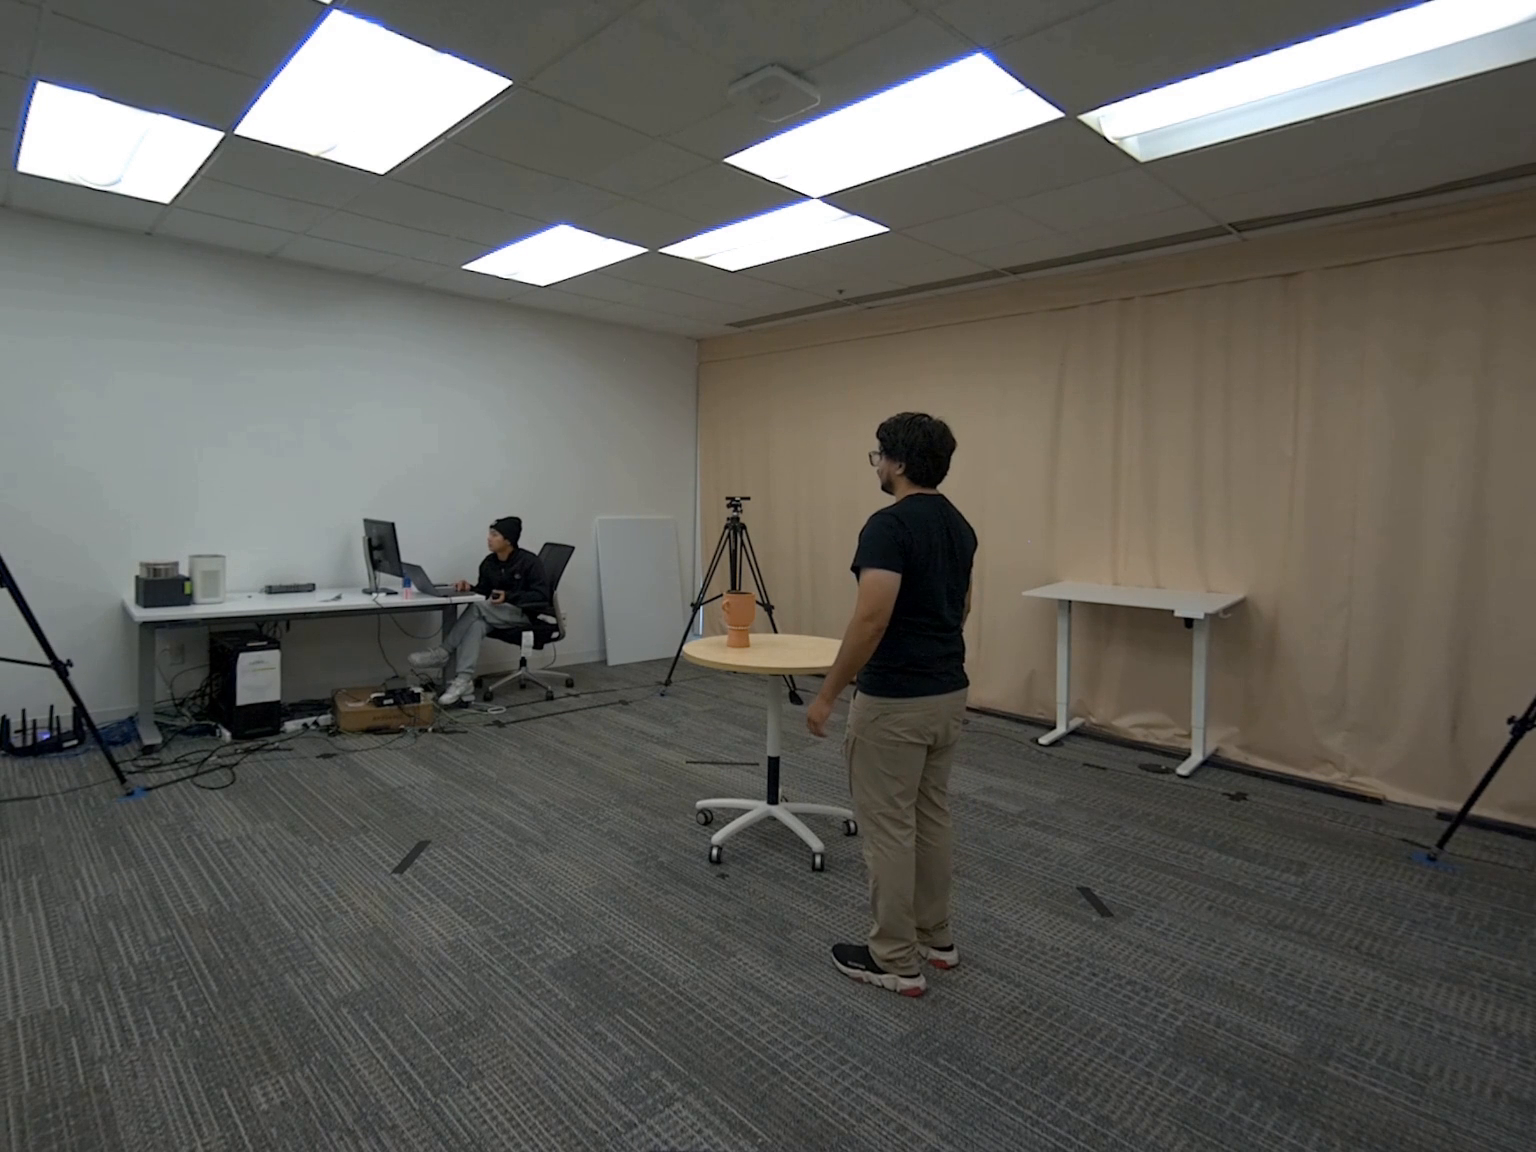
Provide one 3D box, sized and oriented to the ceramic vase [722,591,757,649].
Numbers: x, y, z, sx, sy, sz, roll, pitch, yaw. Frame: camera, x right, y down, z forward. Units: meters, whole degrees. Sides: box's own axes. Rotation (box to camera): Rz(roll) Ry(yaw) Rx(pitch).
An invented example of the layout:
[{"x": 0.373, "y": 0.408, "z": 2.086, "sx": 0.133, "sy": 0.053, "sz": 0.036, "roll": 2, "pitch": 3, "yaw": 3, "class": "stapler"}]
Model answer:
[{"x": -0.128, "y": 0.182, "z": 3.492, "sx": 0.157, "sy": 0.219, "sz": 0.136, "roll": 0, "pitch": 4, "yaw": -10, "class": "ceramic vase"}]
